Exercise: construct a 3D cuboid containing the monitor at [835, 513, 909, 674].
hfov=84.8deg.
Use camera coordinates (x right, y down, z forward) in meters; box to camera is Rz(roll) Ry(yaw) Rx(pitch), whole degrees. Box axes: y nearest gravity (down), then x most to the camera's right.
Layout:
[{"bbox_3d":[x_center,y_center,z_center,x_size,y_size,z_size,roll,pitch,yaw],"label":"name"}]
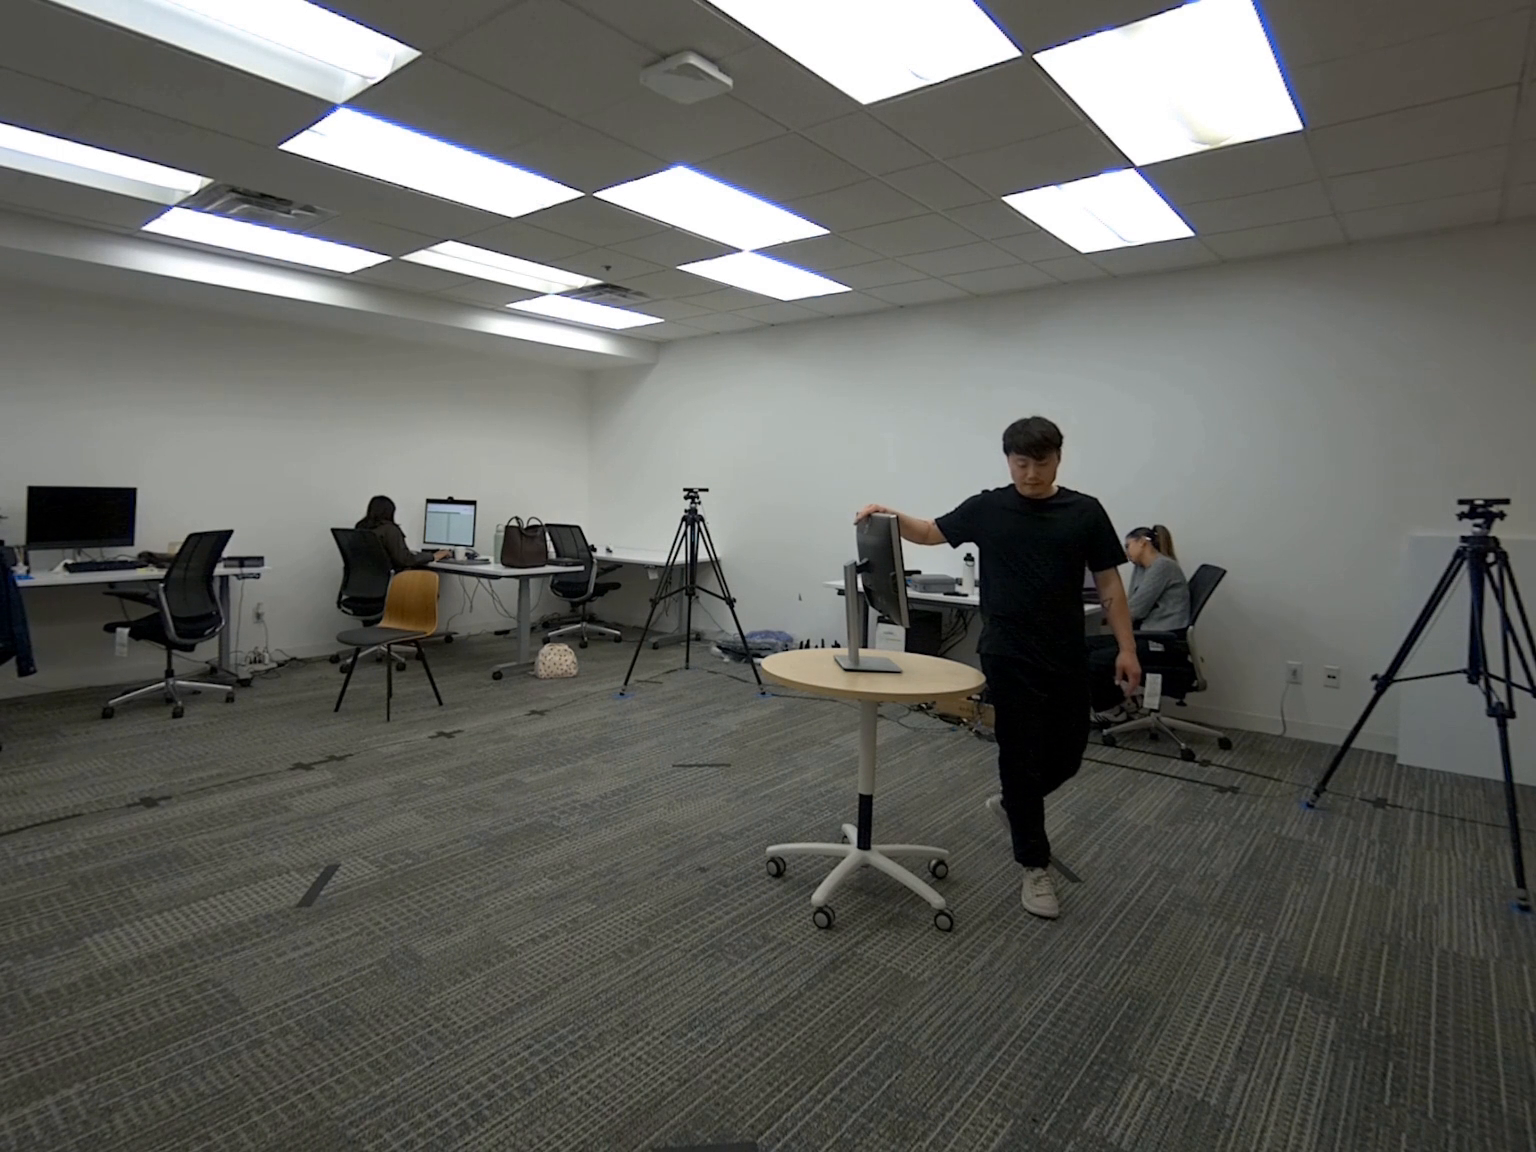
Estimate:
[{"bbox_3d":[0.346,0.052,2.996,0.186,0.521,0.544,3,4,-7],"label":"monitor"}]
